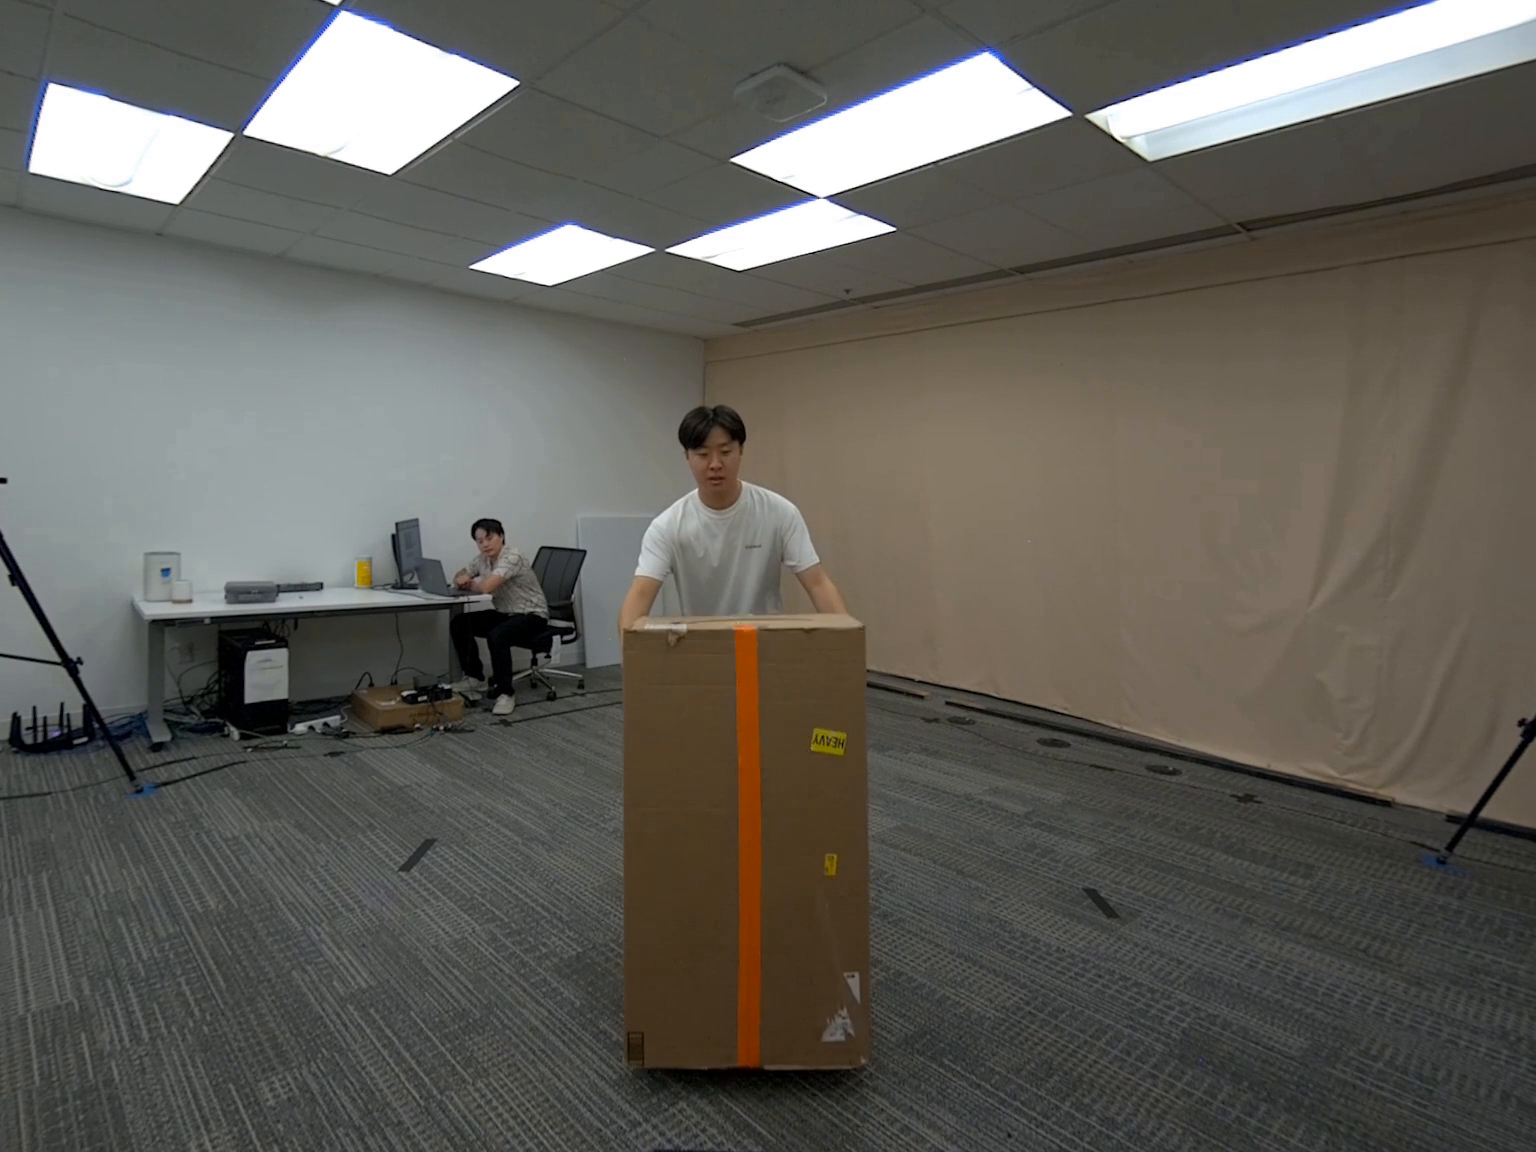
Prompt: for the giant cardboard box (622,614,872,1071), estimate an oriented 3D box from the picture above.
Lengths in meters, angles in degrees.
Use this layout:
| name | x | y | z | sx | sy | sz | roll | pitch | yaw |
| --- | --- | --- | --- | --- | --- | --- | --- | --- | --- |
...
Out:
| name | x | y | z | sx | sy | sz | roll | pitch | yaw |
| --- | --- | --- | --- | --- | --- | --- | --- | --- | --- |
| giant cardboard box | -0.064 | 0.627 | 2.175 | 0.578 | 1.027 | 0.426 | 0 | -1 | 0 |
